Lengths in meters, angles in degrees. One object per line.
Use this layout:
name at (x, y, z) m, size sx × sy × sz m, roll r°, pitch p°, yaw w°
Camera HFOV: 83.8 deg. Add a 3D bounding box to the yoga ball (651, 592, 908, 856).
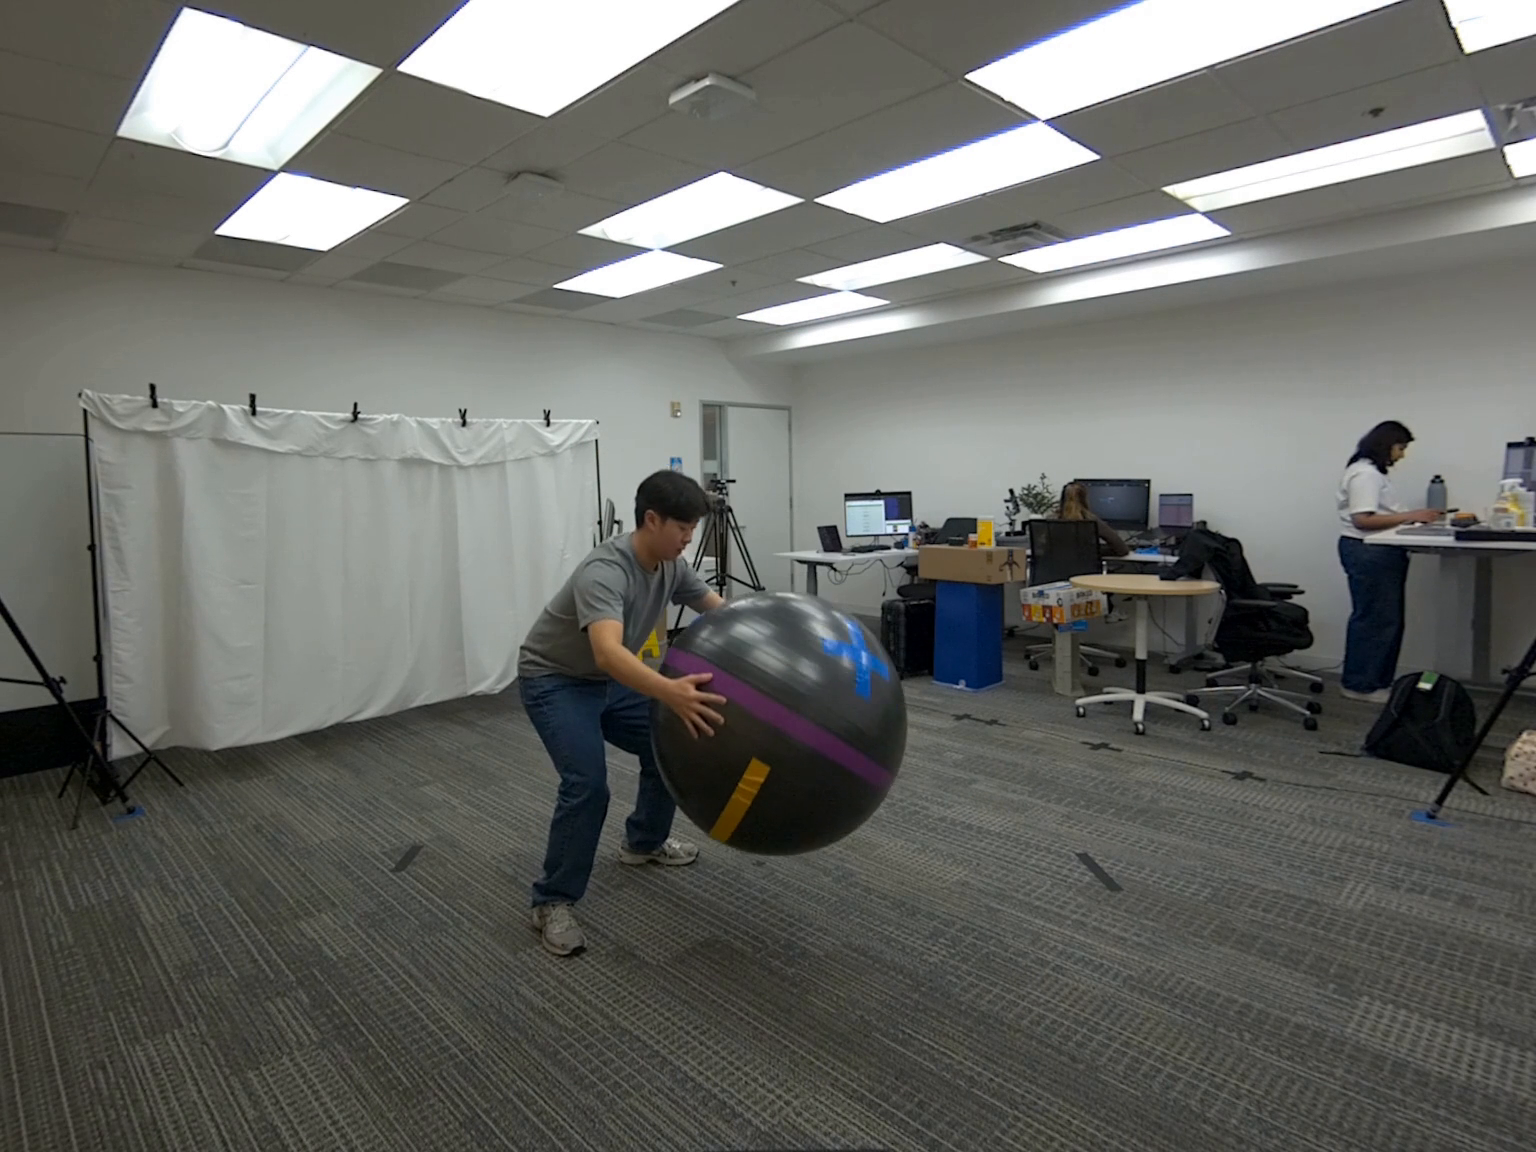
yoga ball at (0.029, 0.425, 2.519) m, size 0.757 × 0.755 × 0.762 m, roll -1°, pitch 5°, yaw -2°
